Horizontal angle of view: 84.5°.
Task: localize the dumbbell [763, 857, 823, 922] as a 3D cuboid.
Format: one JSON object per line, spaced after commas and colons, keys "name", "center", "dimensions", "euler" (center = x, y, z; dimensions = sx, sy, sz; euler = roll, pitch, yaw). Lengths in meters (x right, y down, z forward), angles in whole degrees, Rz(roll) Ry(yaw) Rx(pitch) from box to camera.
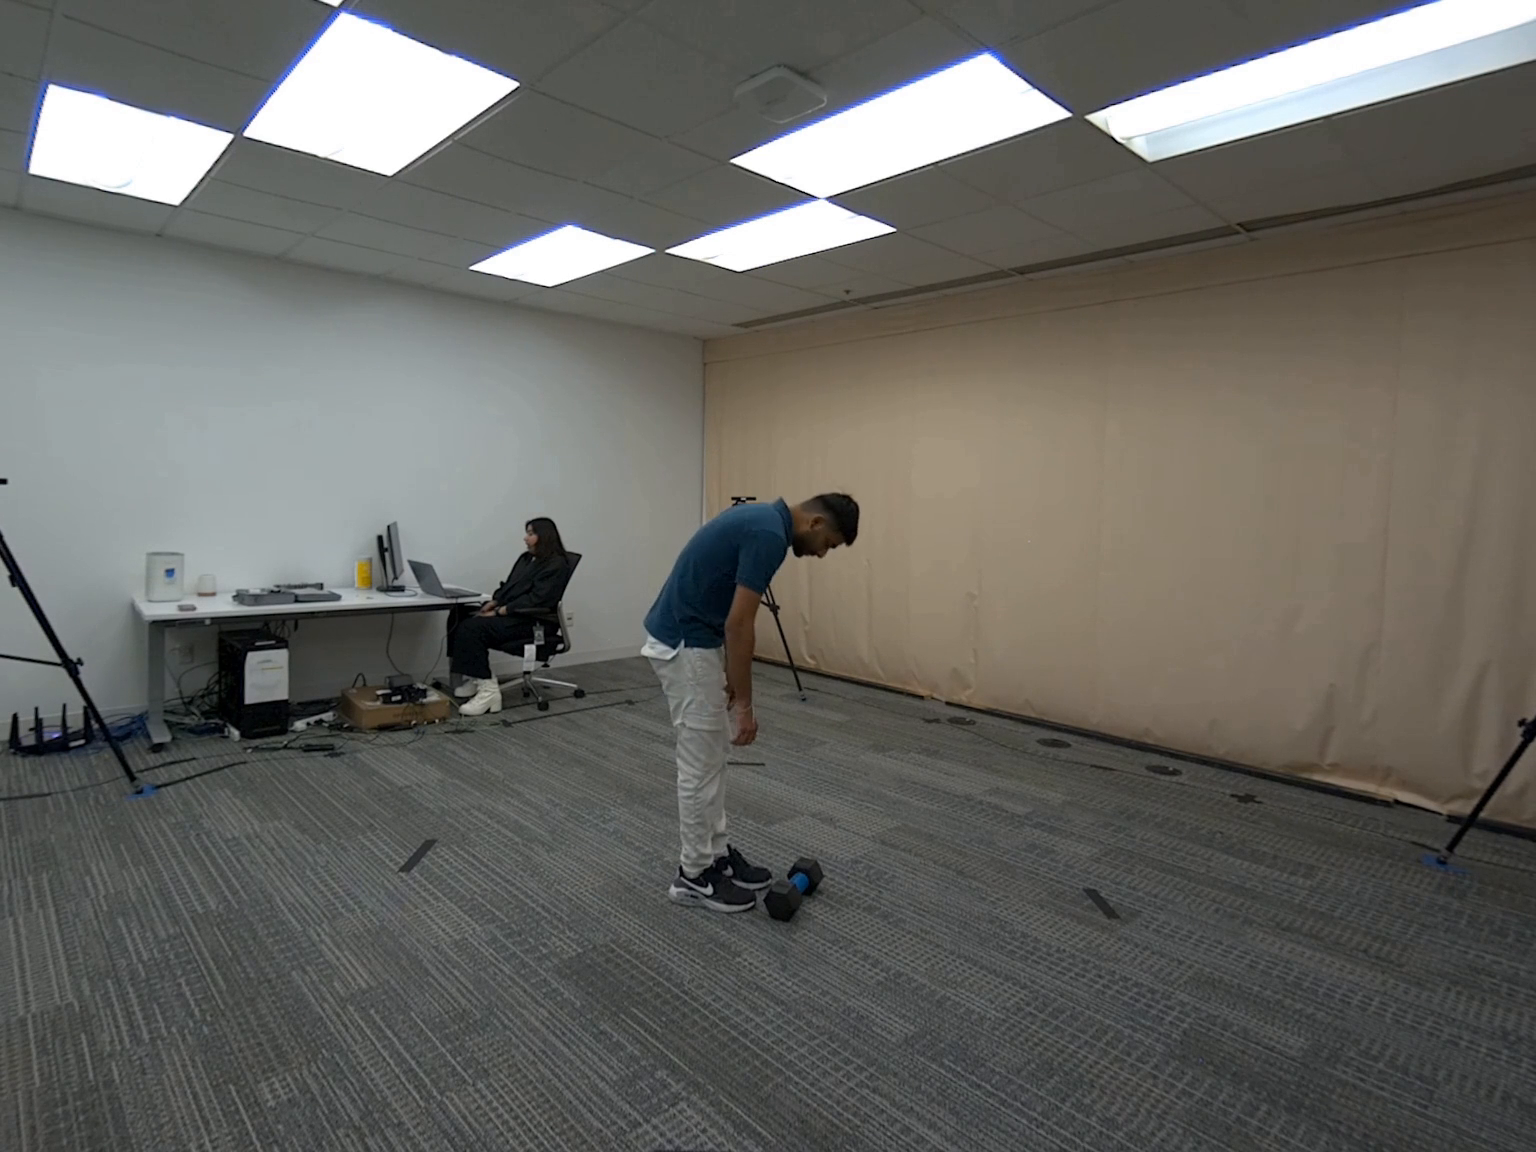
{"name": "dumbbell", "center": [0.082, 1.077, 2.898], "dimensions": [0.111, 0.122, 0.289], "euler": [36, 17, 17]}
